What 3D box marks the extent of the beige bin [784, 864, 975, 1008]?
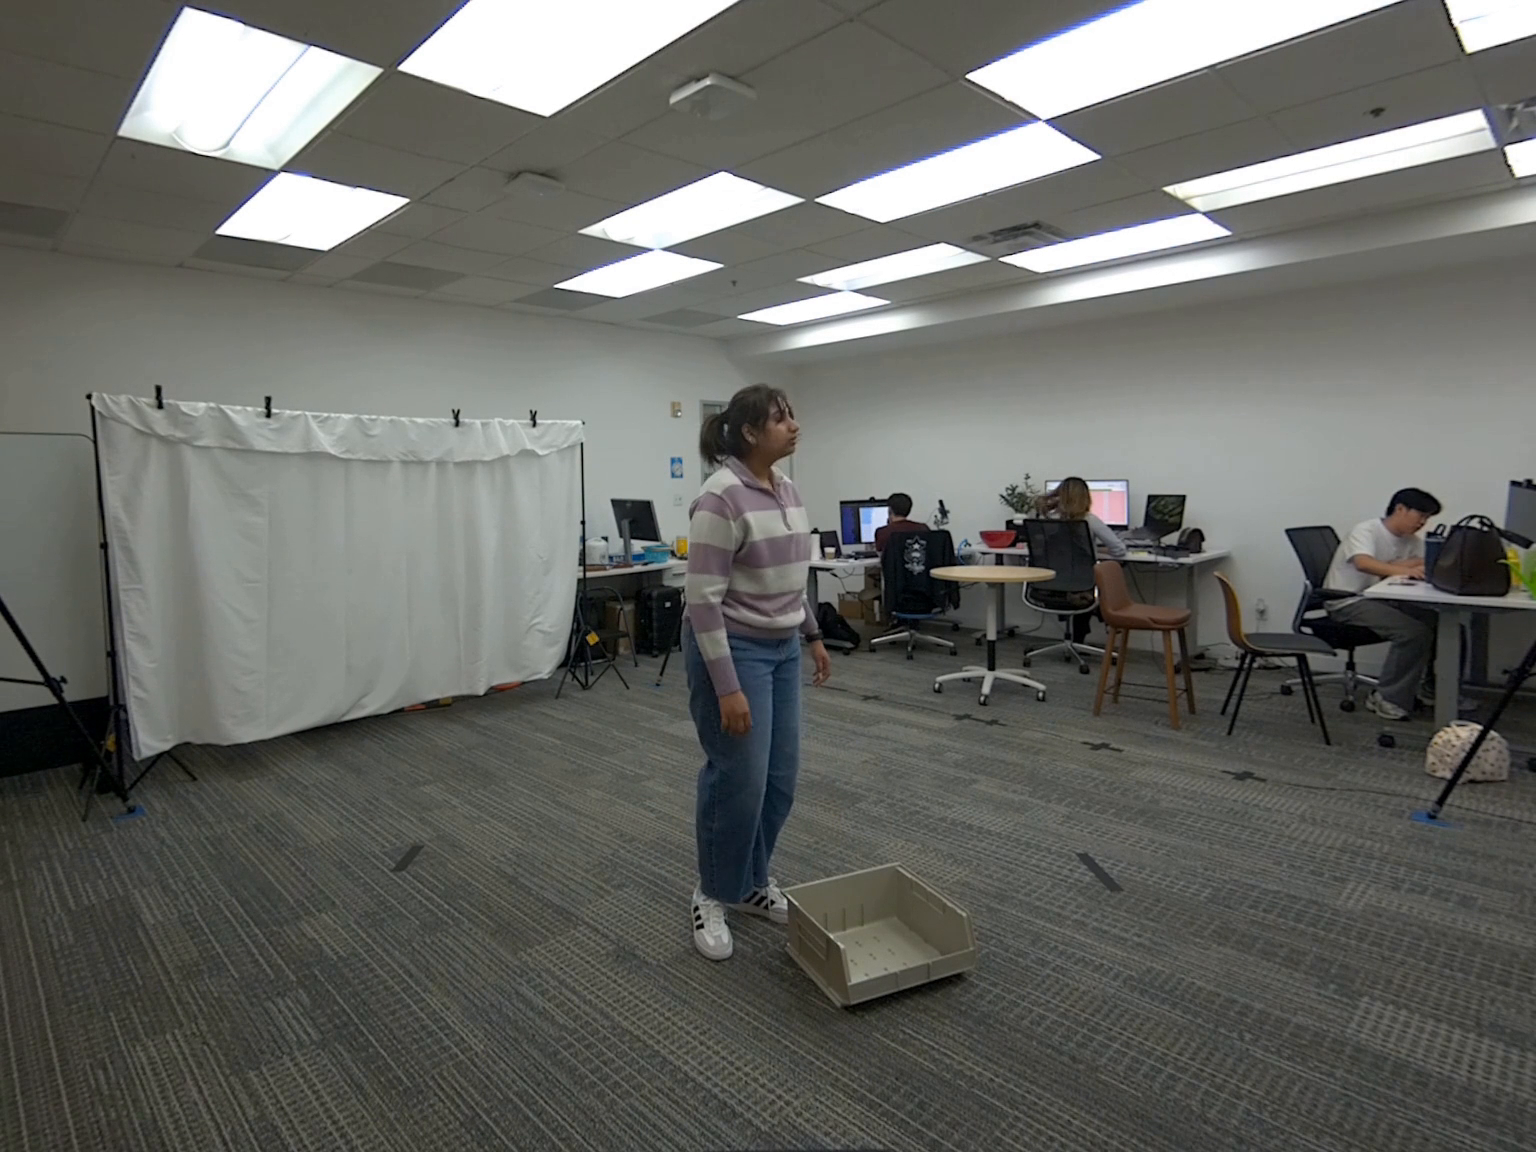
[{"bbox_3d":[0.314,1.029,2.450,0.414,0.188,0.387,-5,6,-25],"label":"beige bin"}]
